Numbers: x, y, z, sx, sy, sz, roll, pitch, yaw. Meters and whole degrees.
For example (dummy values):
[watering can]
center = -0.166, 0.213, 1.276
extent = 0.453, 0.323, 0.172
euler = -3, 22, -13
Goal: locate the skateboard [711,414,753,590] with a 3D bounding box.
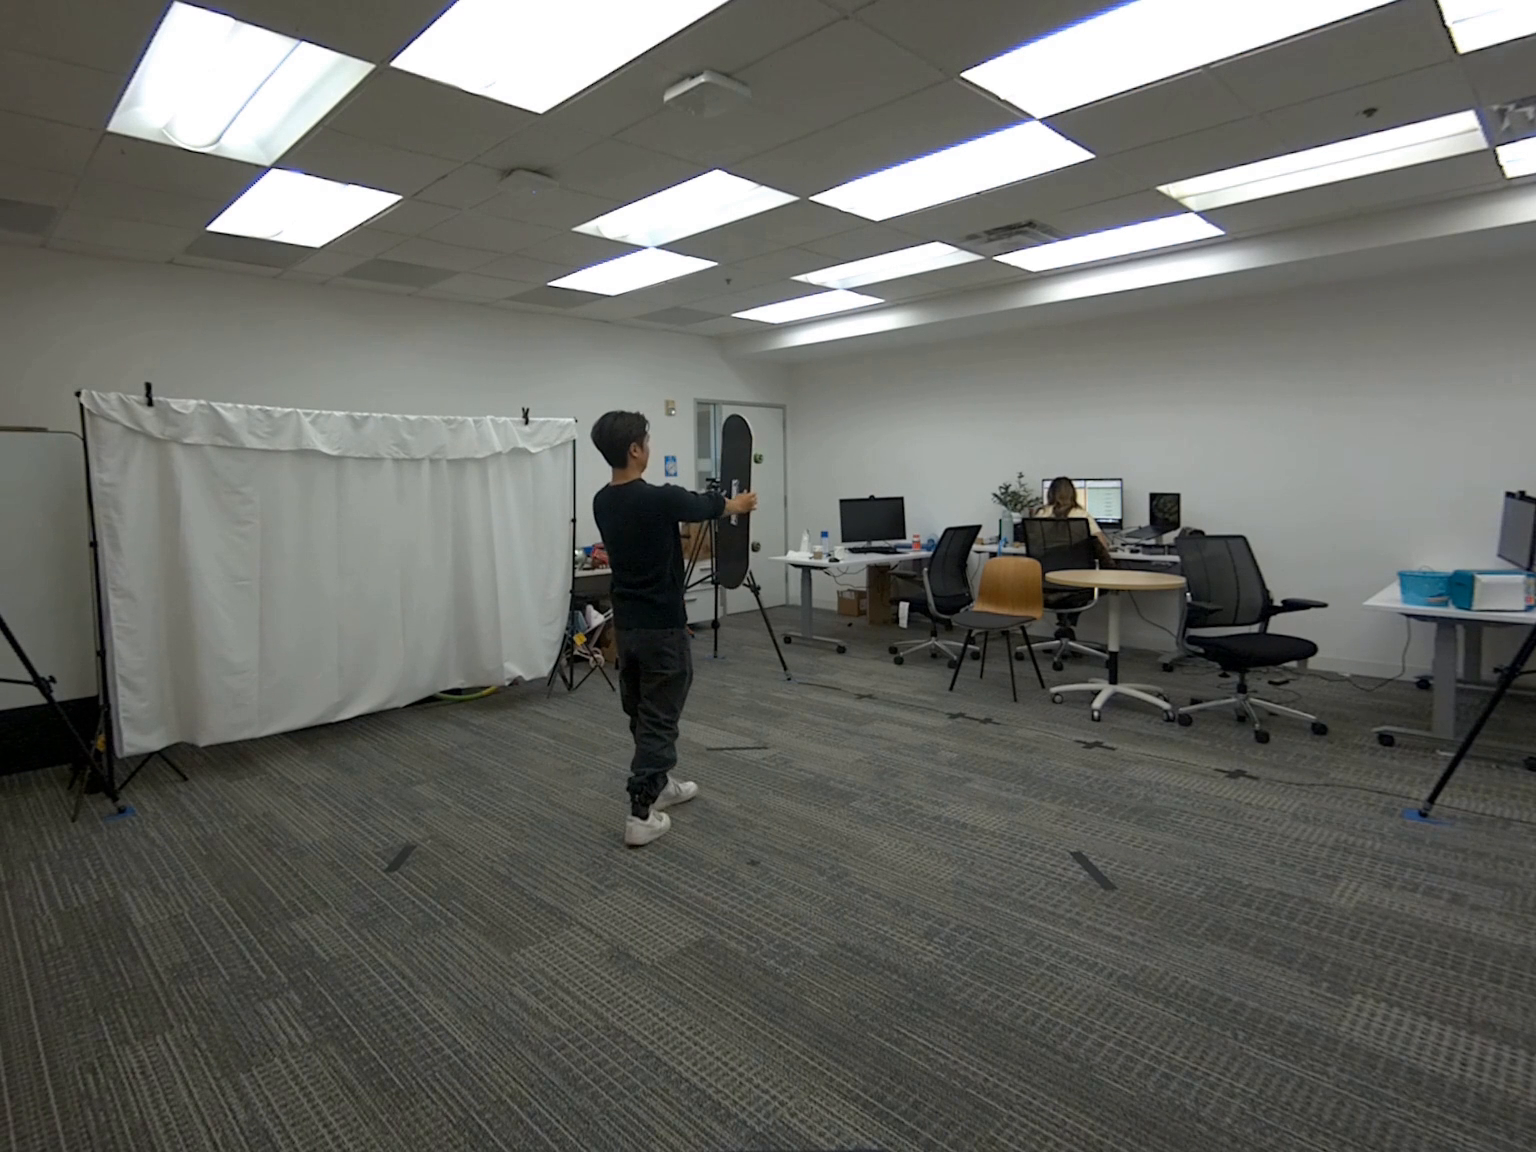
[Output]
[skateboard]
center = -0.129, -0.333, 3.878
extent = 0.199, 0.785, 0.107
euler = 2, 0, 42
